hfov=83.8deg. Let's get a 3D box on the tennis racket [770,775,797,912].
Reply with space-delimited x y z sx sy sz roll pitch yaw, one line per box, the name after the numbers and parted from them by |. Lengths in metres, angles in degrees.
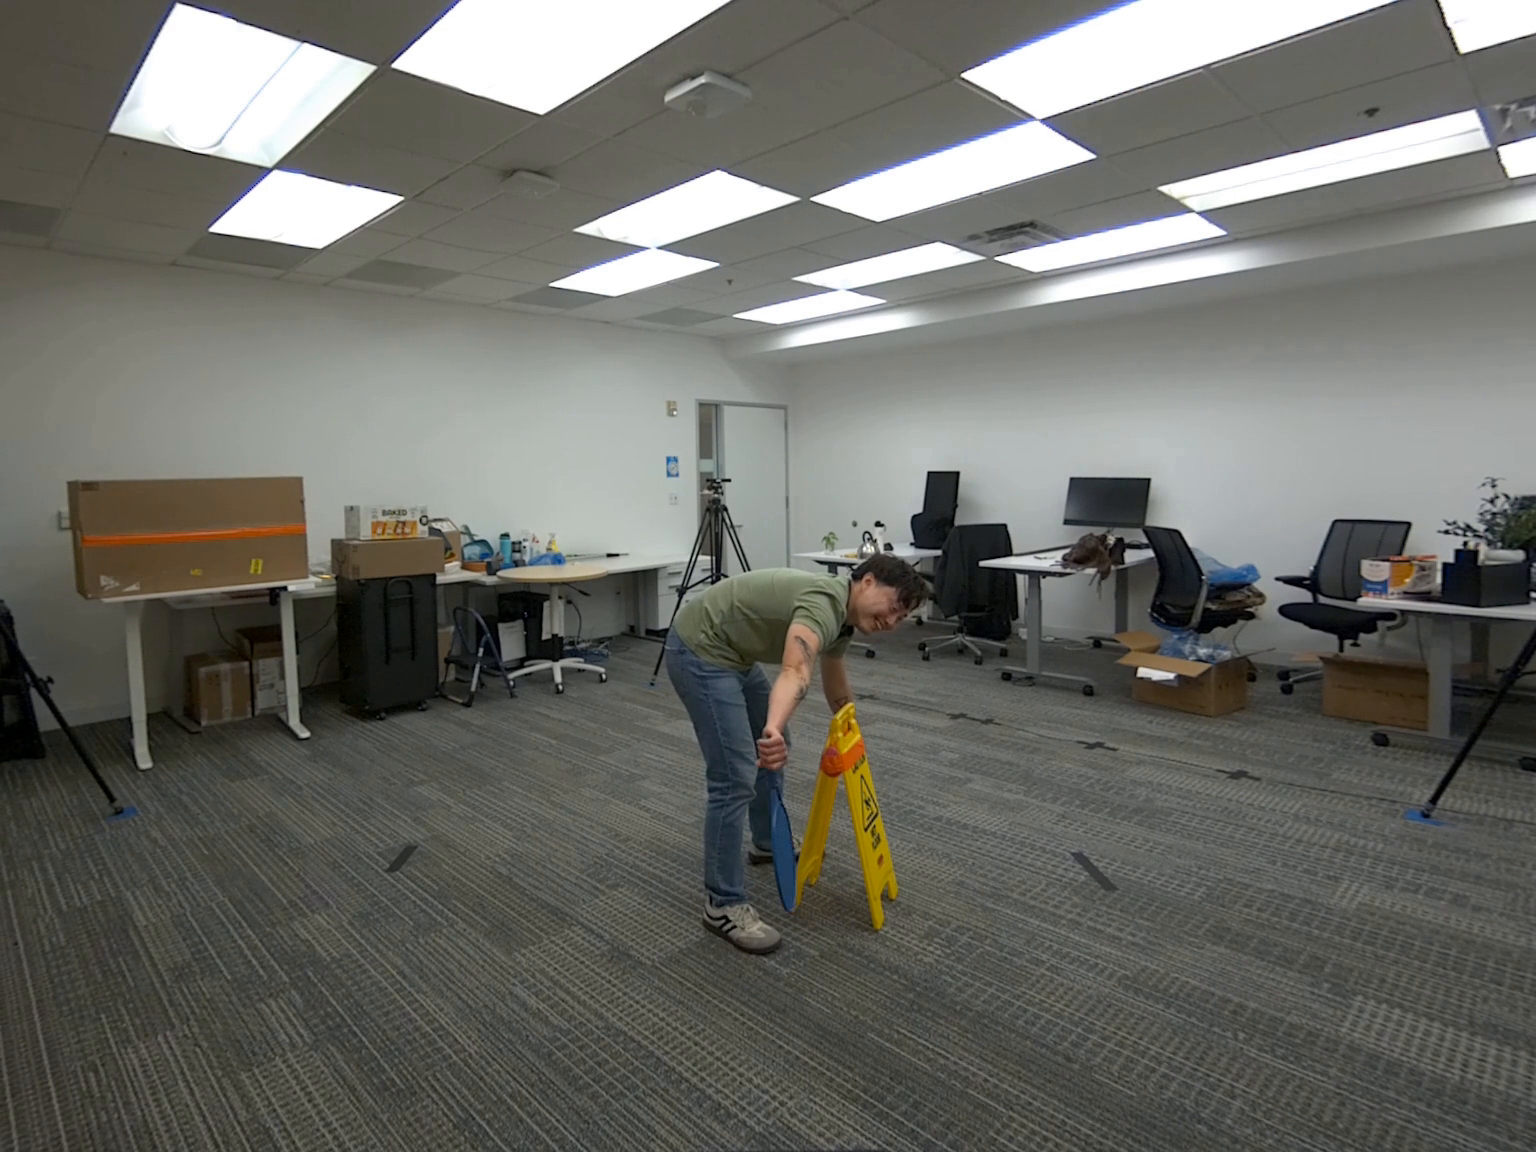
0.032 0.630 2.149 0.032 0.432 0.212 -10 1 11 | tennis racket
